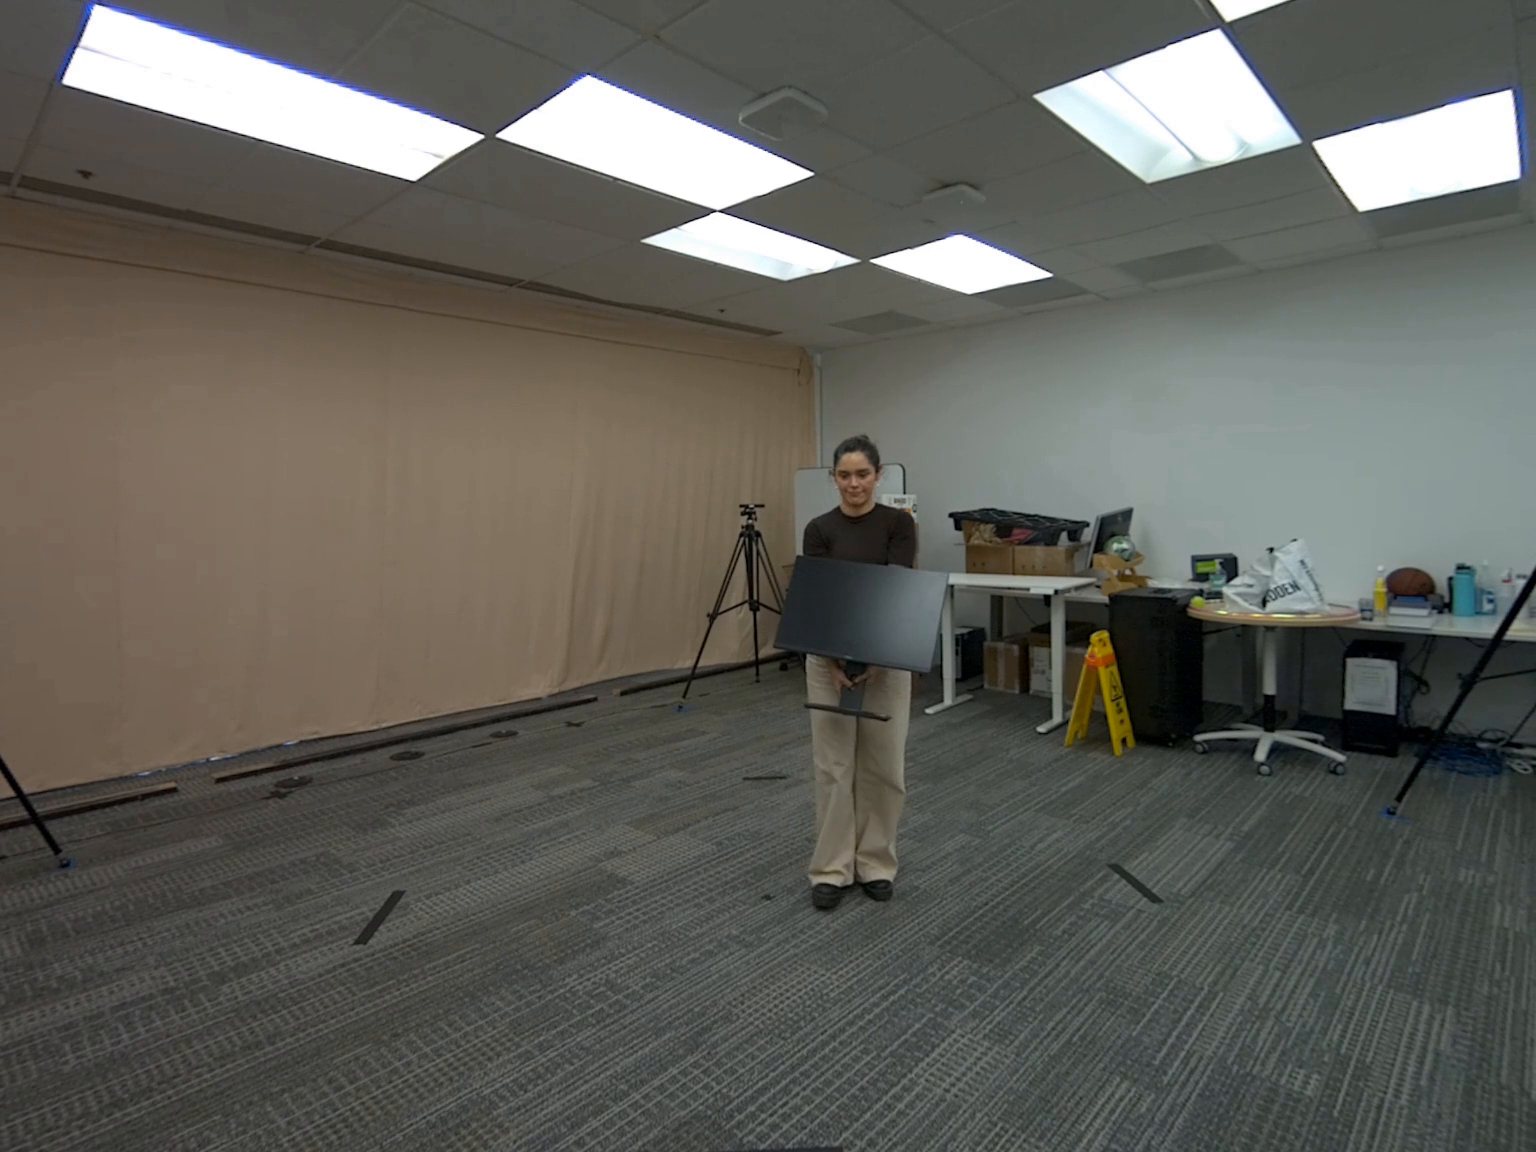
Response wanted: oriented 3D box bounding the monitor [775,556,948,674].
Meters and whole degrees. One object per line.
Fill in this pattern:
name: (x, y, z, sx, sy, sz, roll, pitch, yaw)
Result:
monitor: (0.312, 0.213, 2.840, 0.551, 0.525, 0.182, 6, -10, 20)
